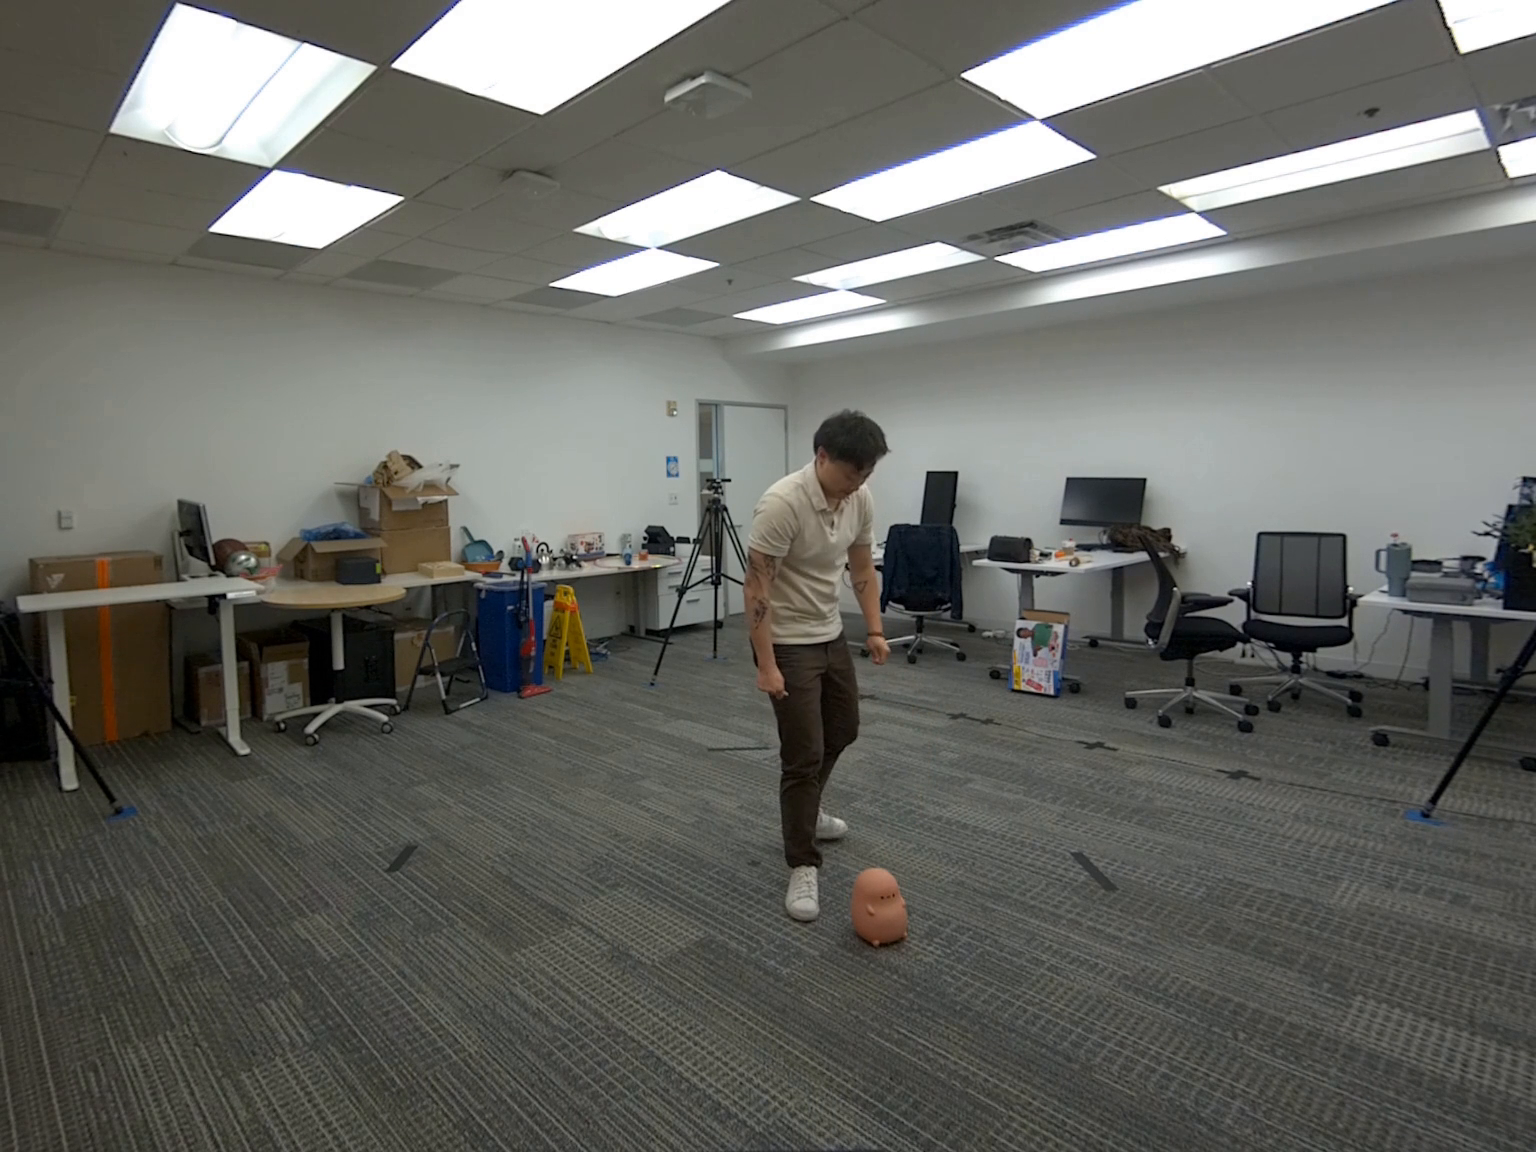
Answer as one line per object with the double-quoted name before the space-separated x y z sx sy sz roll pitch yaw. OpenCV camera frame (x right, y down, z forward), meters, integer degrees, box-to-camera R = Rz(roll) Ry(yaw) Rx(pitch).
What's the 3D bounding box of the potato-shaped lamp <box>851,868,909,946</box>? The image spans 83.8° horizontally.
"potato-shaped lamp" 0.344 0.998 2.600 0.162 0.198 0.174 -3 3 -19
